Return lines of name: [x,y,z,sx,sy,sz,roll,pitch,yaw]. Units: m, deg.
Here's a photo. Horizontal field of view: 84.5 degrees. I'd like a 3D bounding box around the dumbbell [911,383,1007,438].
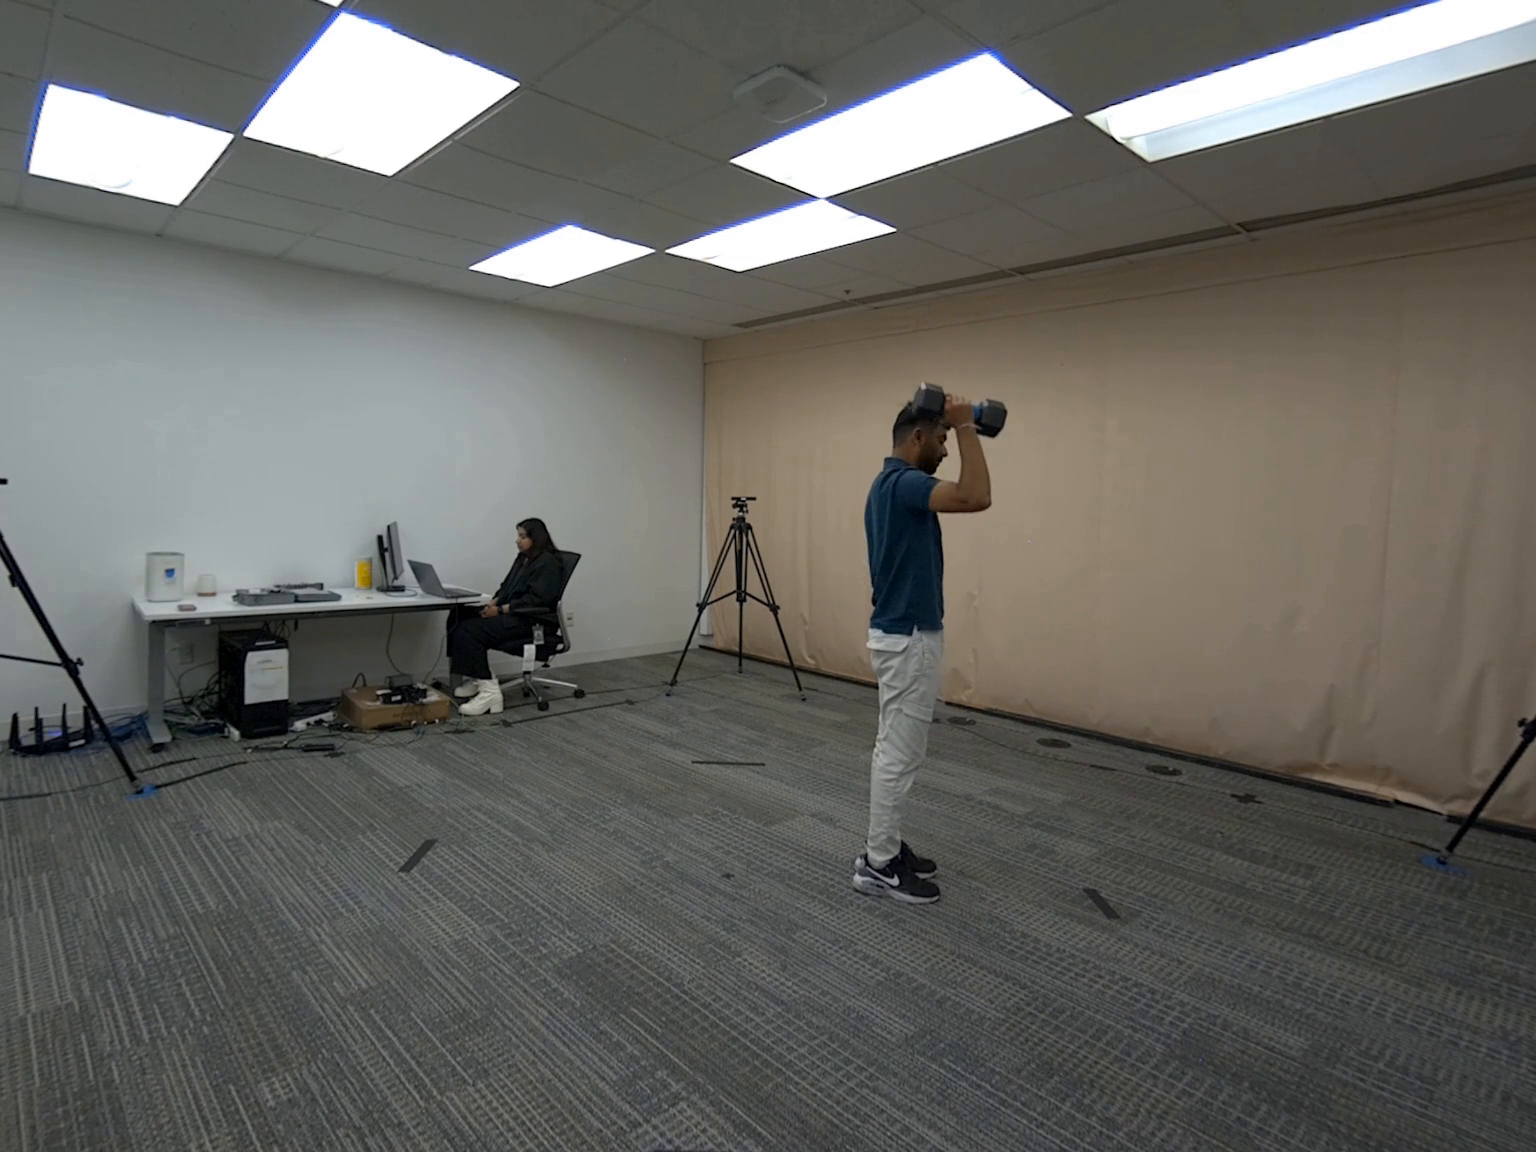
dumbbell: [0.618,-0.555,2.768,0.293,0.110,0.122,15,-23,-3]
